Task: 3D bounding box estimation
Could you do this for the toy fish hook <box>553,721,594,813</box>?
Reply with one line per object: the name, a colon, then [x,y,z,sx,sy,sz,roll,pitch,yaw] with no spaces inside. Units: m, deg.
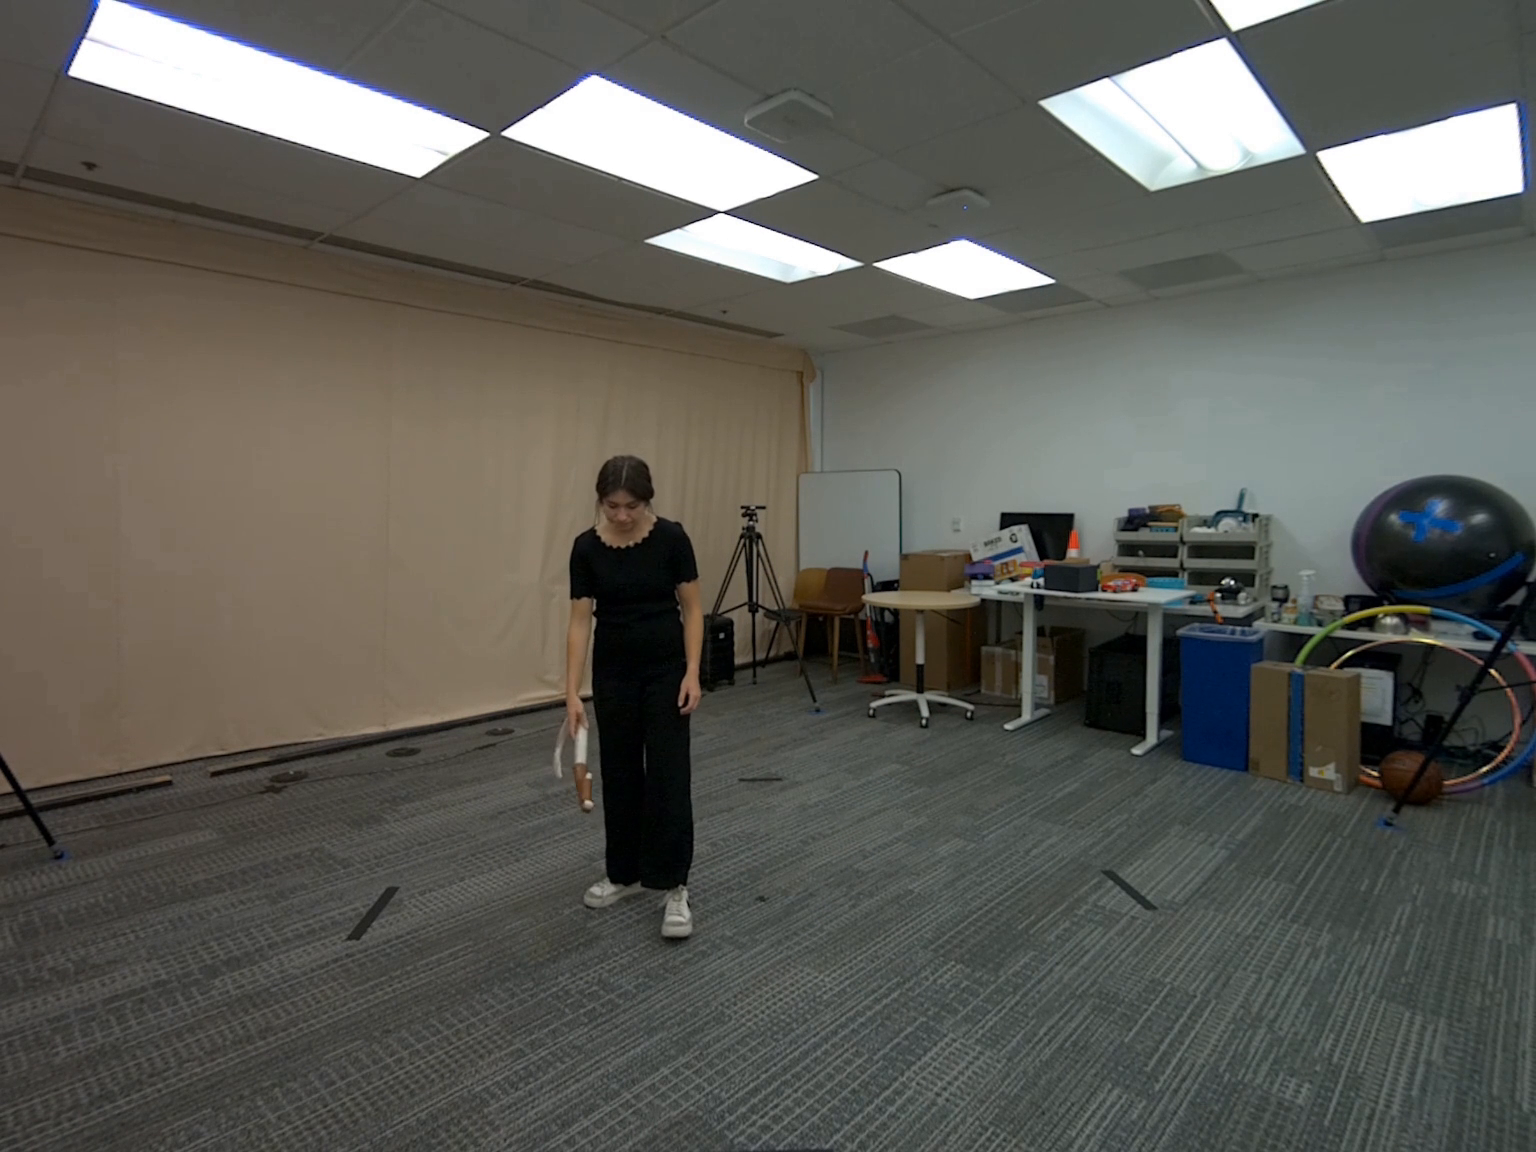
toy fish hook: [-0.595,0.612,2.692,0.047,0.224,0.521,16,19,-25]
